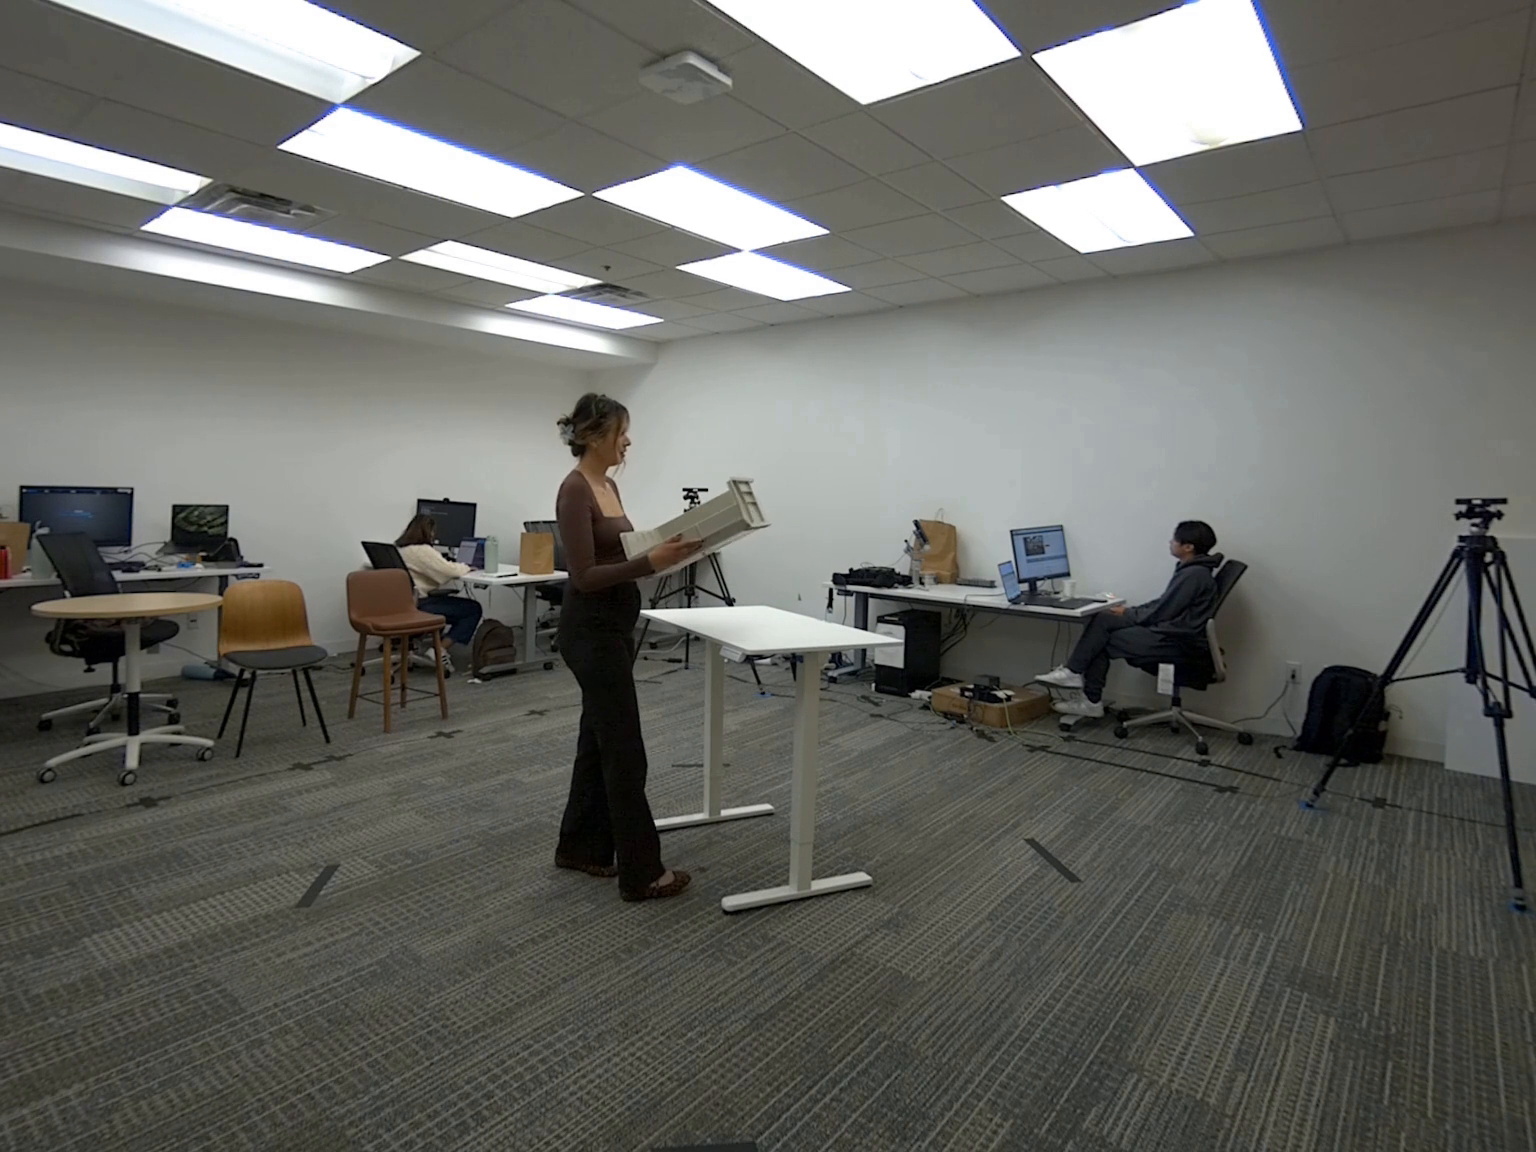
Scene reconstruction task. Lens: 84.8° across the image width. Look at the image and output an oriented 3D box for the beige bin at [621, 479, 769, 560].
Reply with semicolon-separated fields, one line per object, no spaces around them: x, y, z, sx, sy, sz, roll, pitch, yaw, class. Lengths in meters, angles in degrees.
-0.247;-0.164;2.887;0.425;0.190;0.373;-26;-2;13;beige bin
